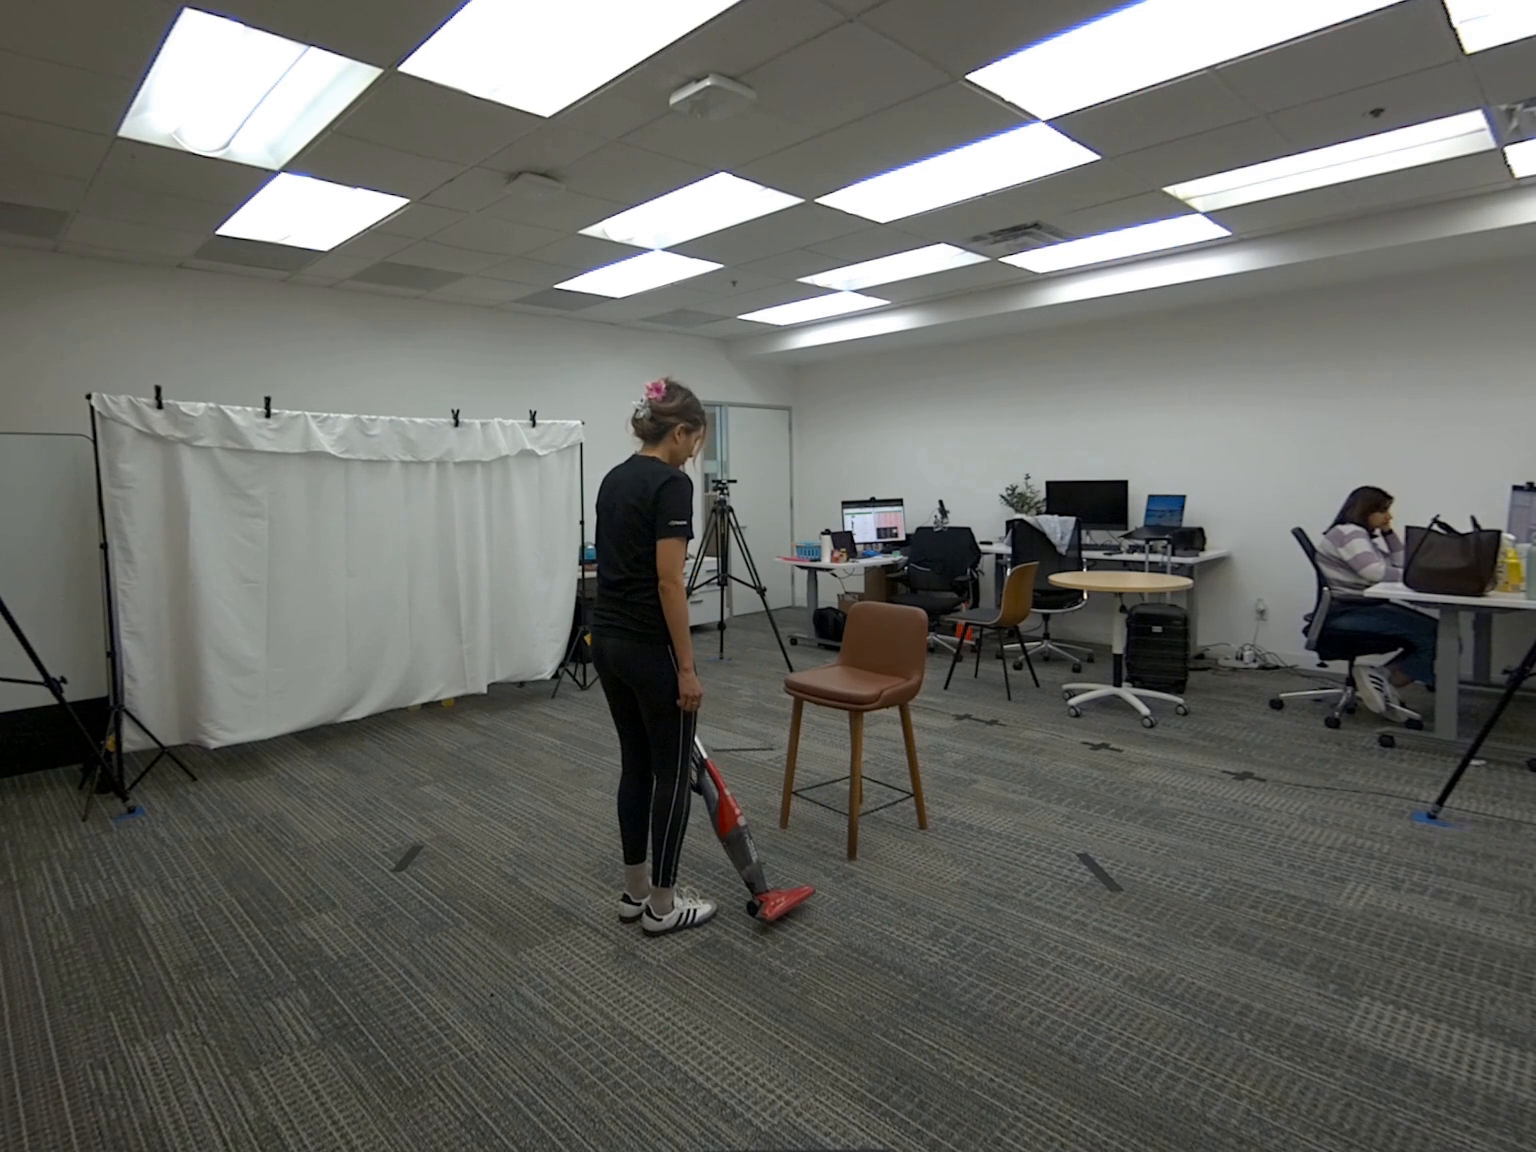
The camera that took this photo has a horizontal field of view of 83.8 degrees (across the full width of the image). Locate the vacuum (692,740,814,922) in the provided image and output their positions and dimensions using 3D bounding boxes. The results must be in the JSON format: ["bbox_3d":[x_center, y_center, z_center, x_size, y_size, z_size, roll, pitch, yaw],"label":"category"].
[{"bbox_3d":[-0.231,0.651,2.951,0.246,1.080,0.143,-6,-36,-47],"label":"vacuum"}]
